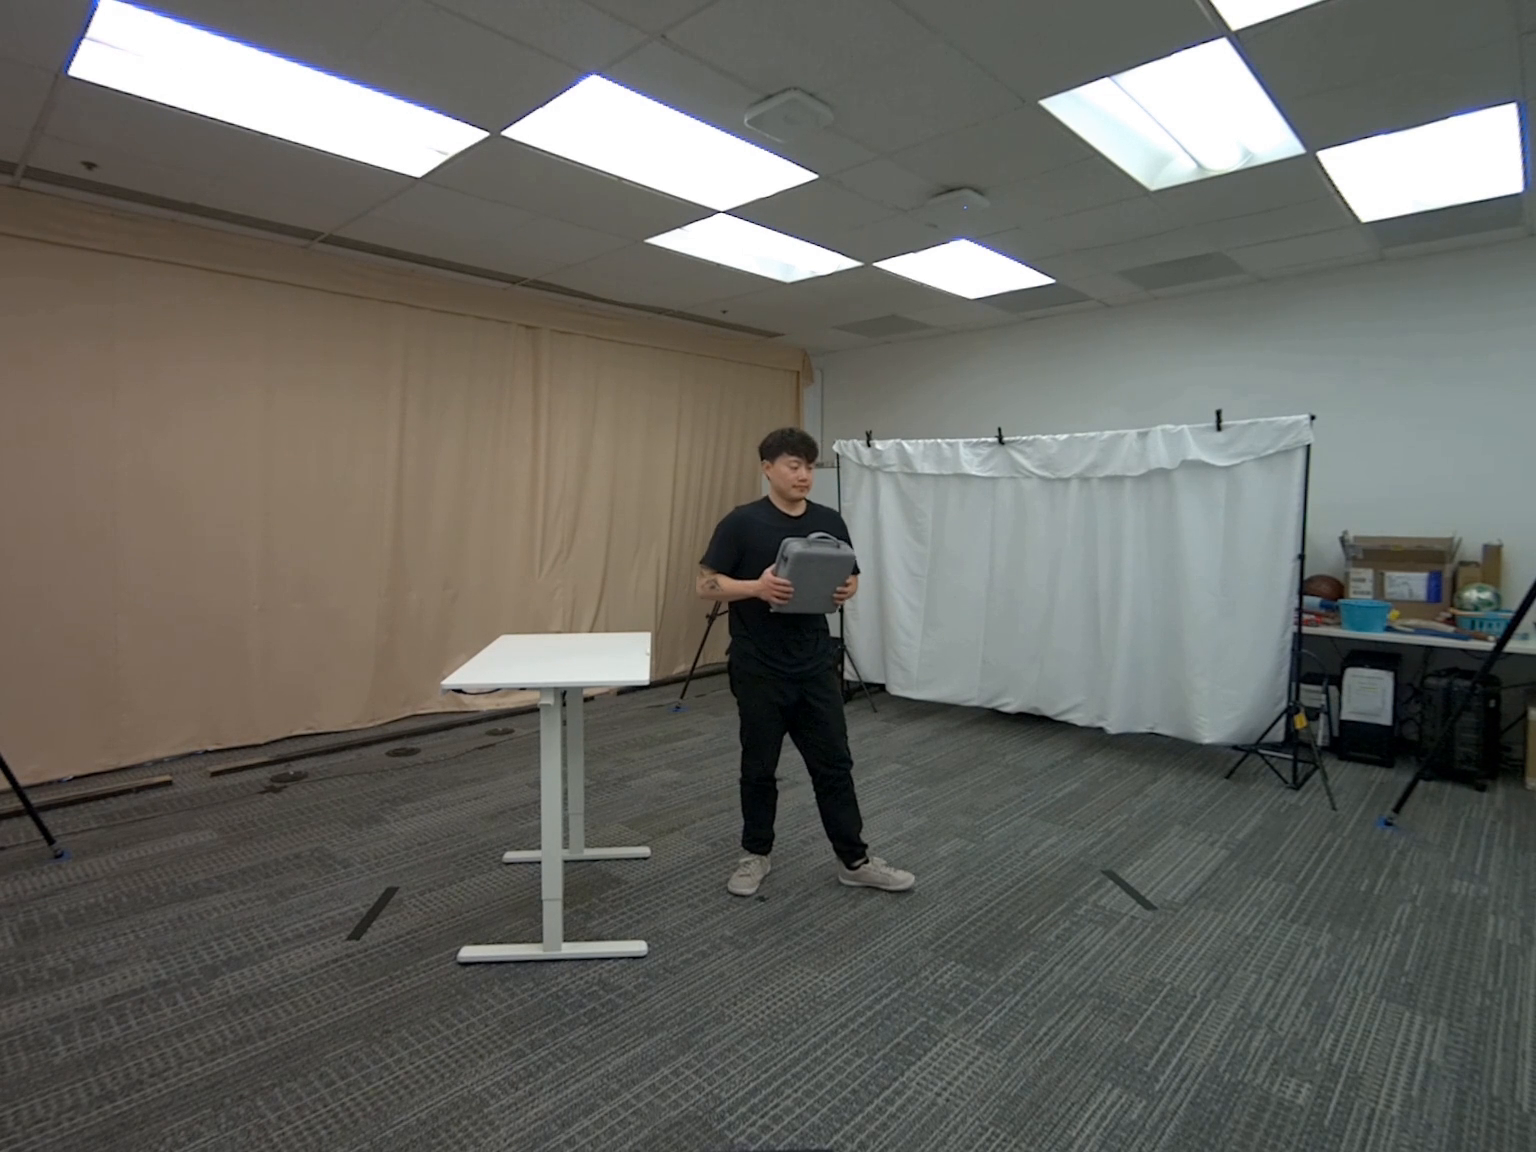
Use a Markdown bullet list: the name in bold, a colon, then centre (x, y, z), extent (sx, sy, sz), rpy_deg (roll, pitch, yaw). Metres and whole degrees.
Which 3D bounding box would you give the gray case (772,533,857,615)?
- **gray case**: centre (0.154, -0.001, 2.837), extent (0.251, 0.258, 0.107), rpy_deg (2, 30, -23)
